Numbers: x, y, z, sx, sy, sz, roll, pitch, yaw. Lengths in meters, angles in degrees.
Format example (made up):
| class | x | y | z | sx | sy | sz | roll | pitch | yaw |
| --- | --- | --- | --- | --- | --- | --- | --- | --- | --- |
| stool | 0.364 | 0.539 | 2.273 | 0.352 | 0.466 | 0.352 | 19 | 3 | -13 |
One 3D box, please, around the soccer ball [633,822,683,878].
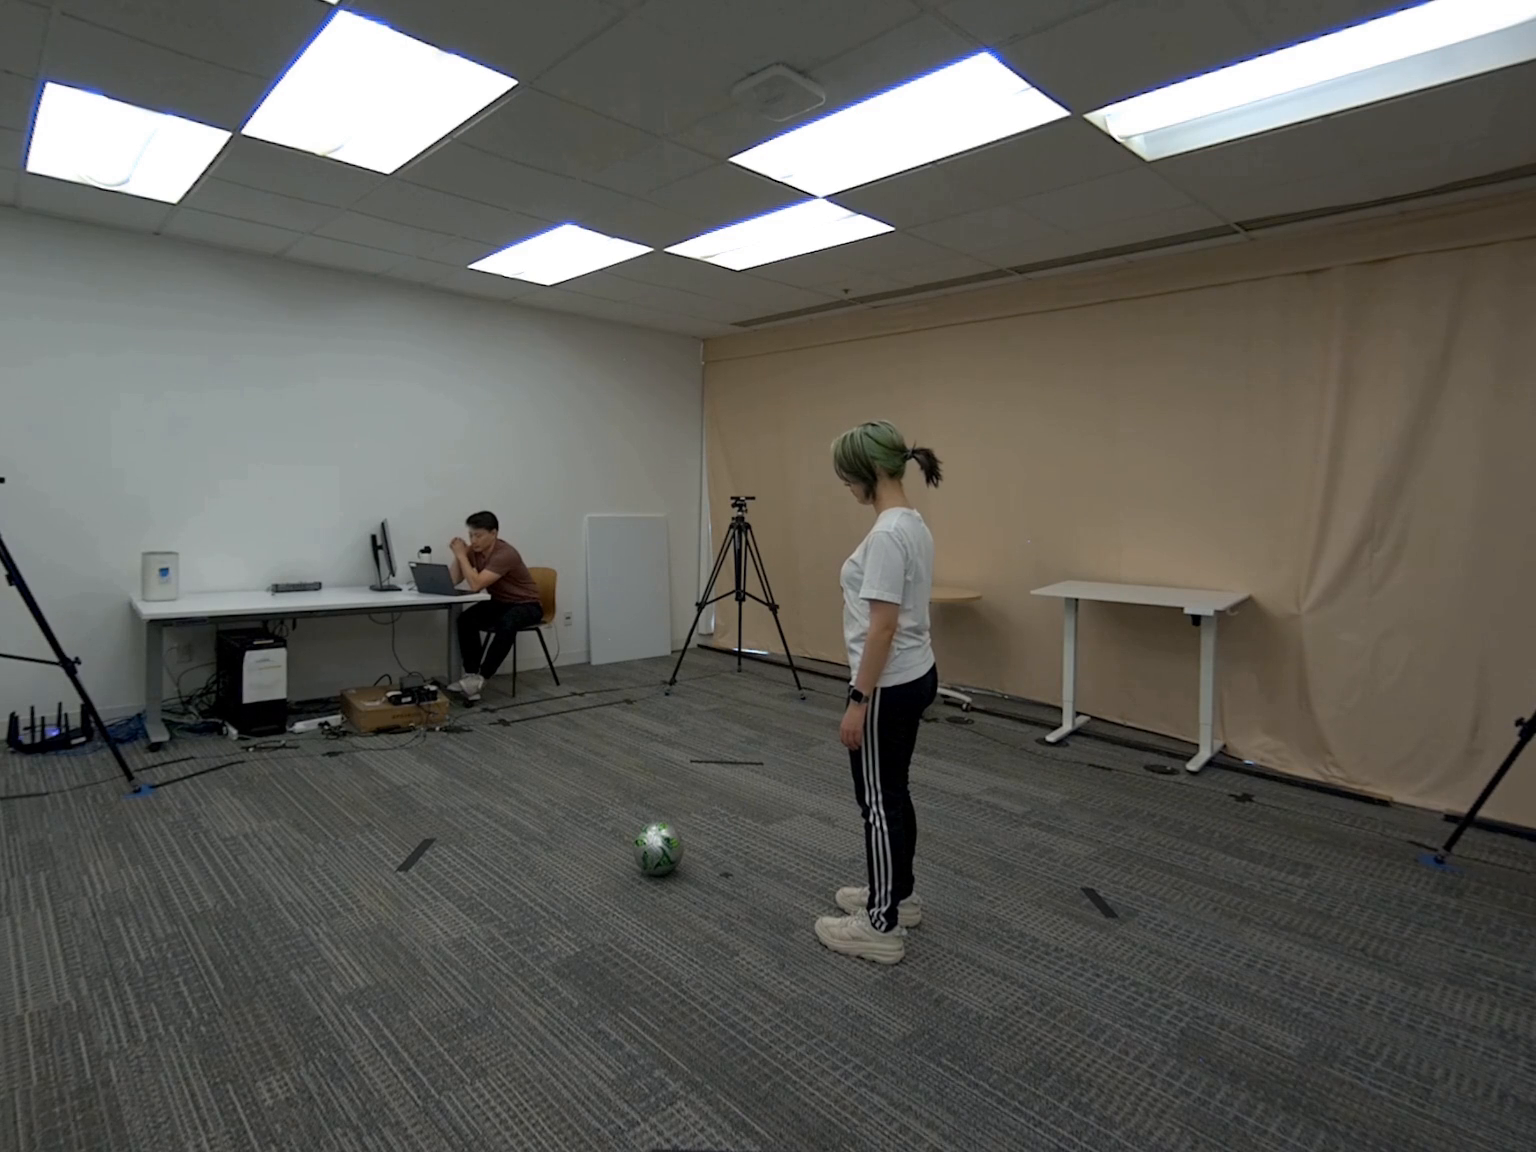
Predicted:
| class | x | y | z | sx | sy | sz | roll | pitch | yaw |
| --- | --- | --- | --- | --- | --- | --- | --- | --- | --- |
| soccer ball | -0.408 | 1.005 | 3.107 | 0.187 | 0.187 | 0.188 | 1 | 4 | -1 |
